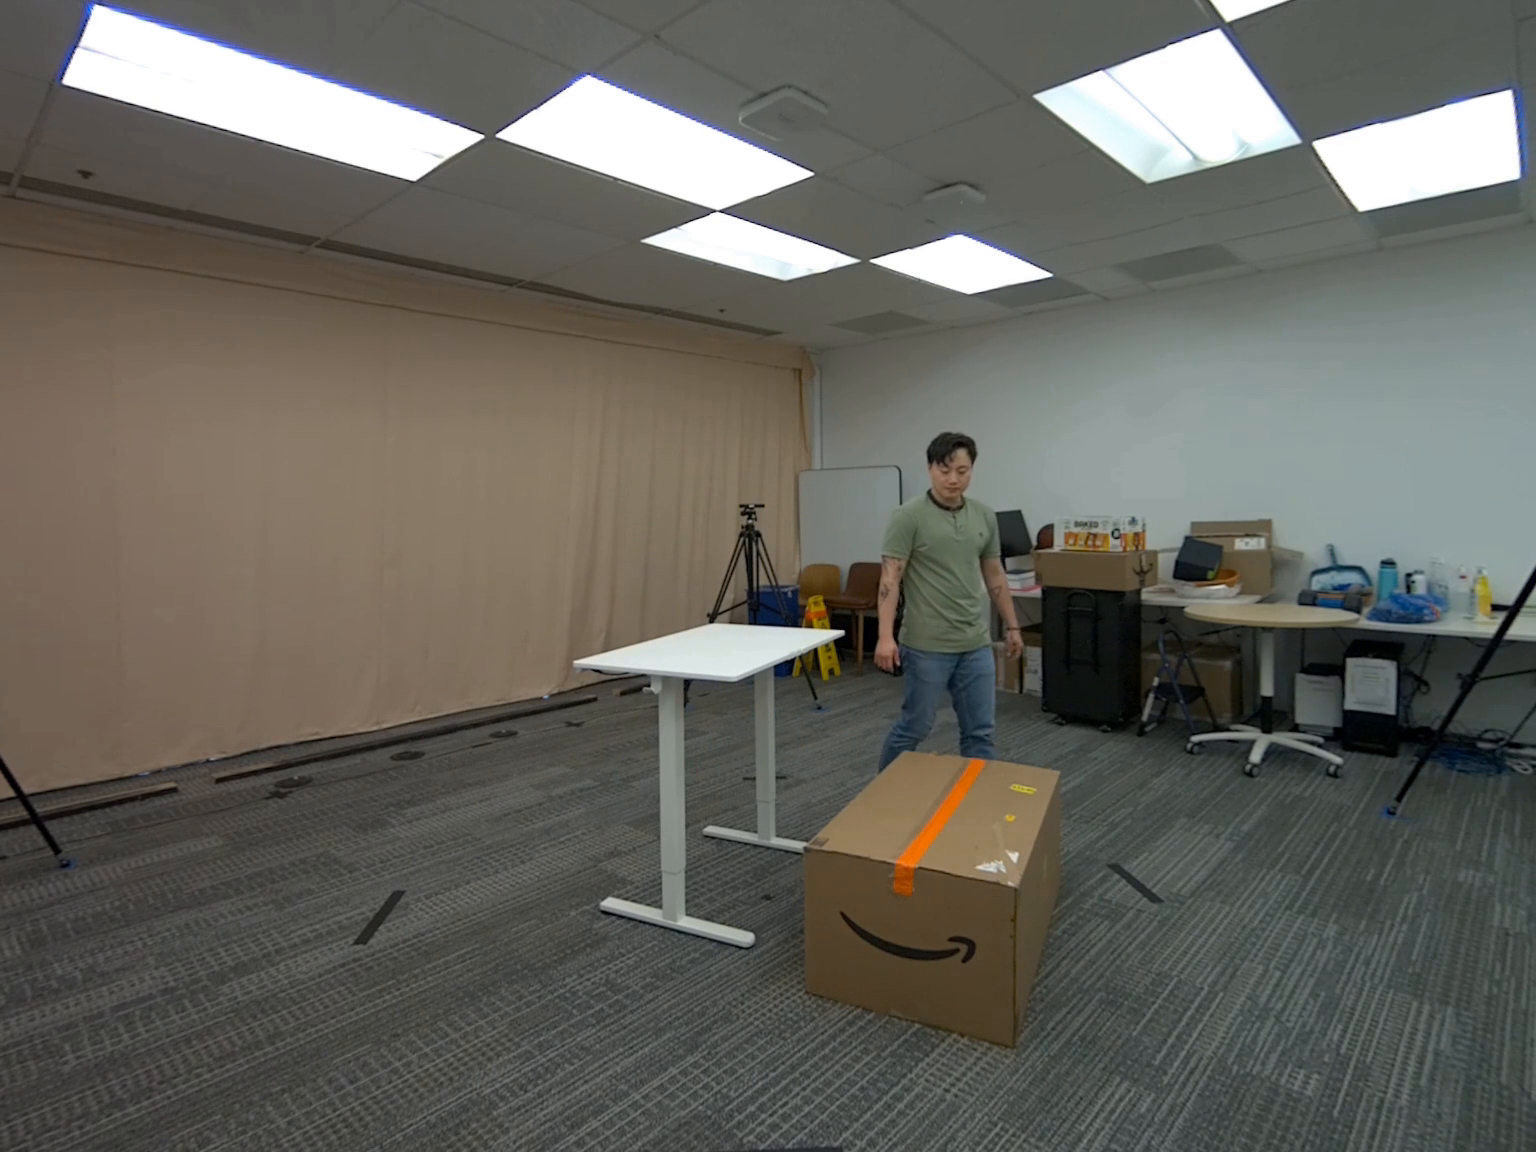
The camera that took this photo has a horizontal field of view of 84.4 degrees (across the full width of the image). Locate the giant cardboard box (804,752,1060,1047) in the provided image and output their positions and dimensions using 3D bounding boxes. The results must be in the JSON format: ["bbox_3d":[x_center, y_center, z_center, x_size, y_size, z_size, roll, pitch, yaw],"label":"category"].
[{"bbox_3d":[0.577,0.939,2.701,0.593,0.425,1.002,2,5,26],"label":"giant cardboard box"}]
